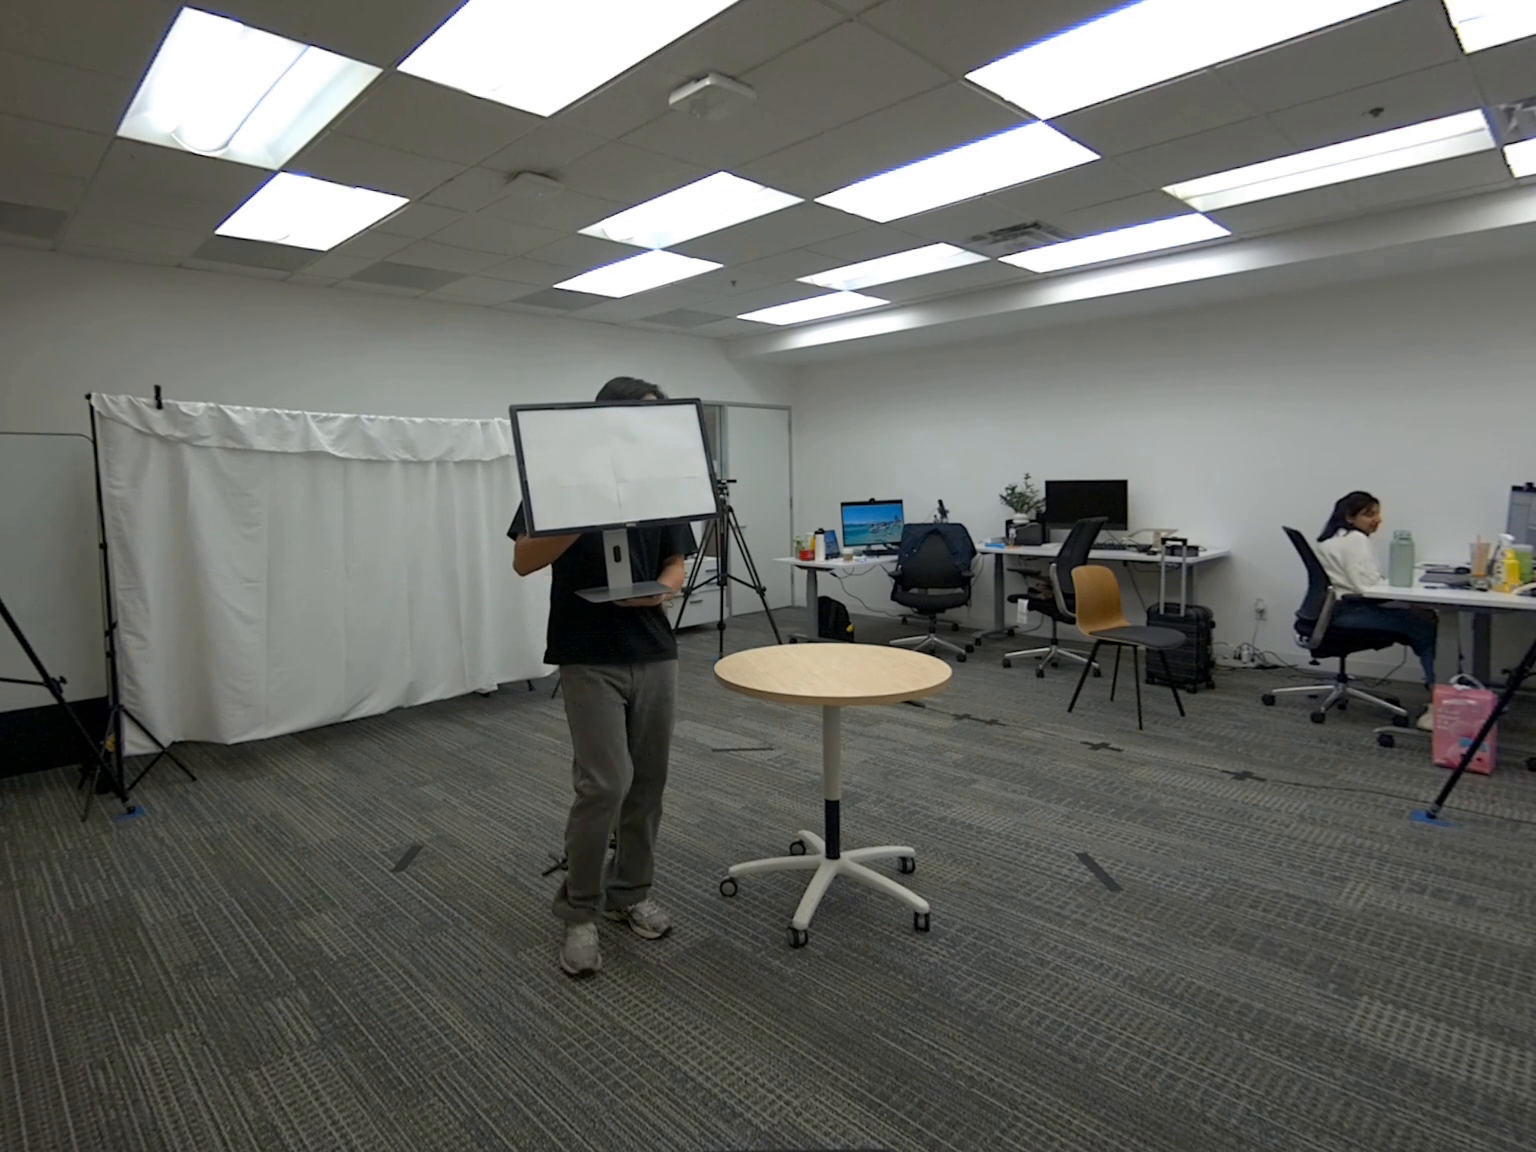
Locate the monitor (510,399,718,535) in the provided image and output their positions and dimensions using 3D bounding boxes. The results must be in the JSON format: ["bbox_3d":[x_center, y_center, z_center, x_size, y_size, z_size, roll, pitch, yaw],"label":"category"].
[{"bbox_3d":[-0.415,-0.208,2.387,0.551,0.563,0.227,-7,6,-24],"label":"monitor"}]
